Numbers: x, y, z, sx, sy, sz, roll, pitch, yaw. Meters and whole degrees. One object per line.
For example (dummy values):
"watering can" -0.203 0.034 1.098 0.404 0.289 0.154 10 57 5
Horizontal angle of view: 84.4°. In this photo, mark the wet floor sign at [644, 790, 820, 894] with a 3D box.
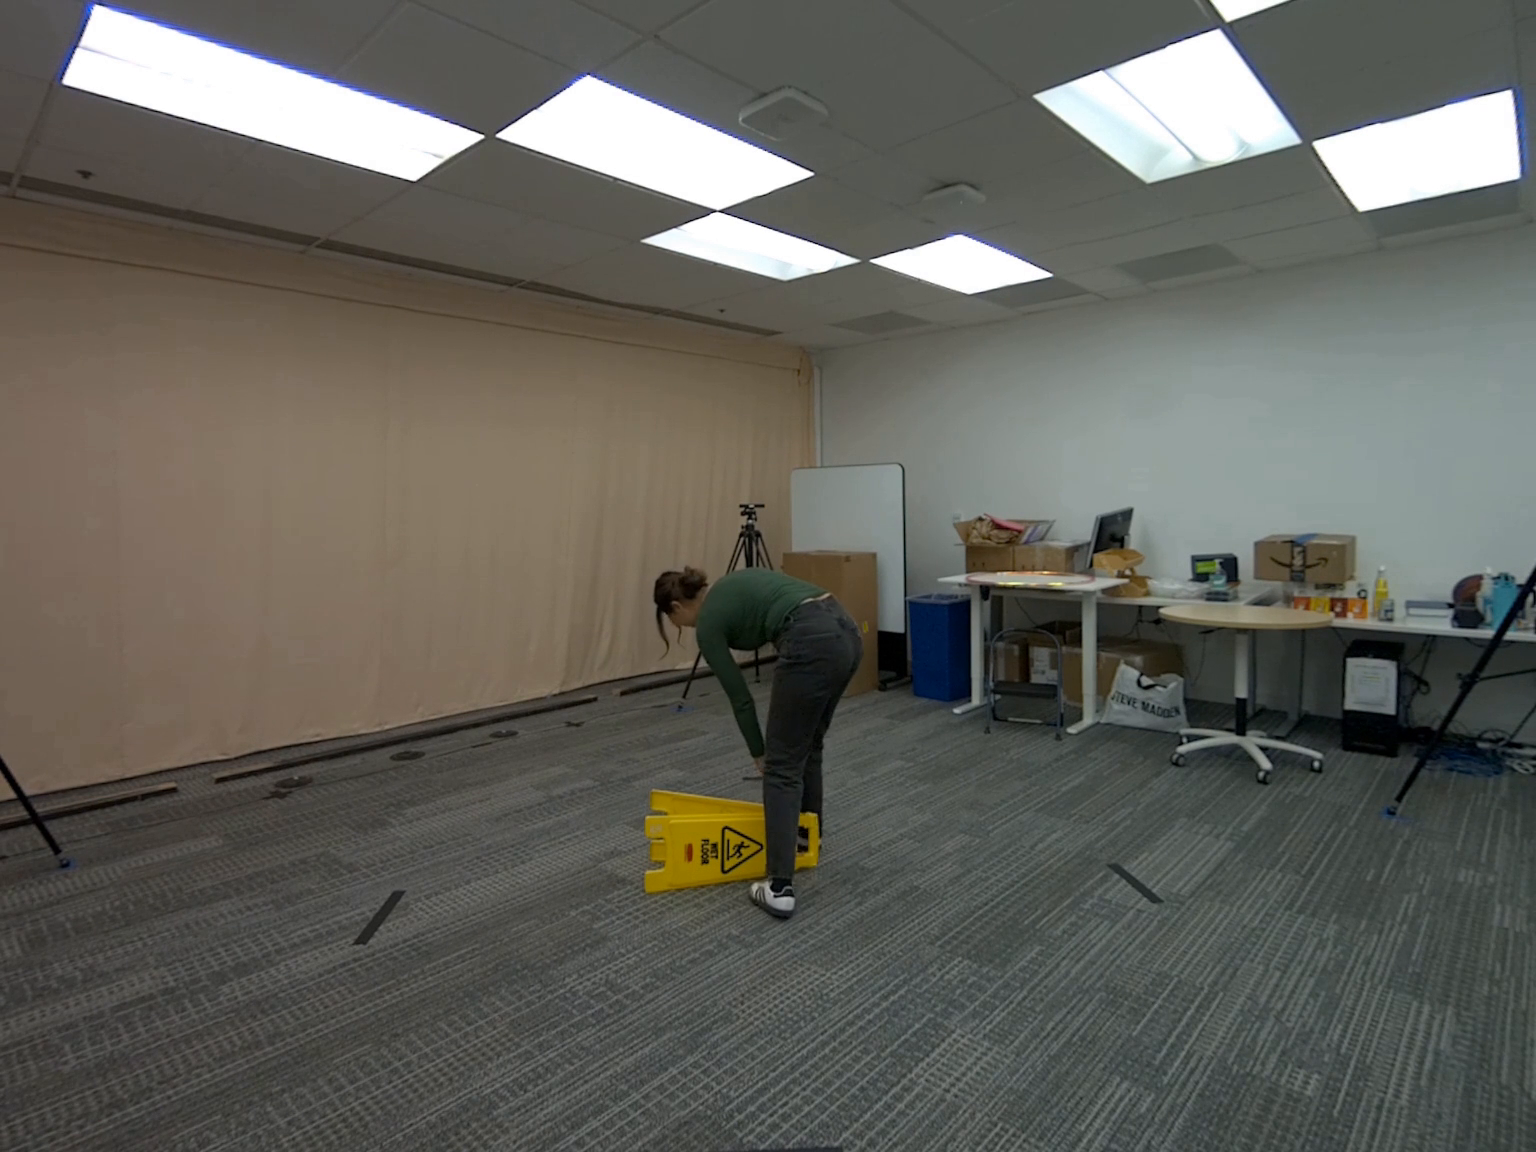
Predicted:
"wet floor sign" -0.130 0.990 3.181 0.645 0.282 0.291 1 3 -2
